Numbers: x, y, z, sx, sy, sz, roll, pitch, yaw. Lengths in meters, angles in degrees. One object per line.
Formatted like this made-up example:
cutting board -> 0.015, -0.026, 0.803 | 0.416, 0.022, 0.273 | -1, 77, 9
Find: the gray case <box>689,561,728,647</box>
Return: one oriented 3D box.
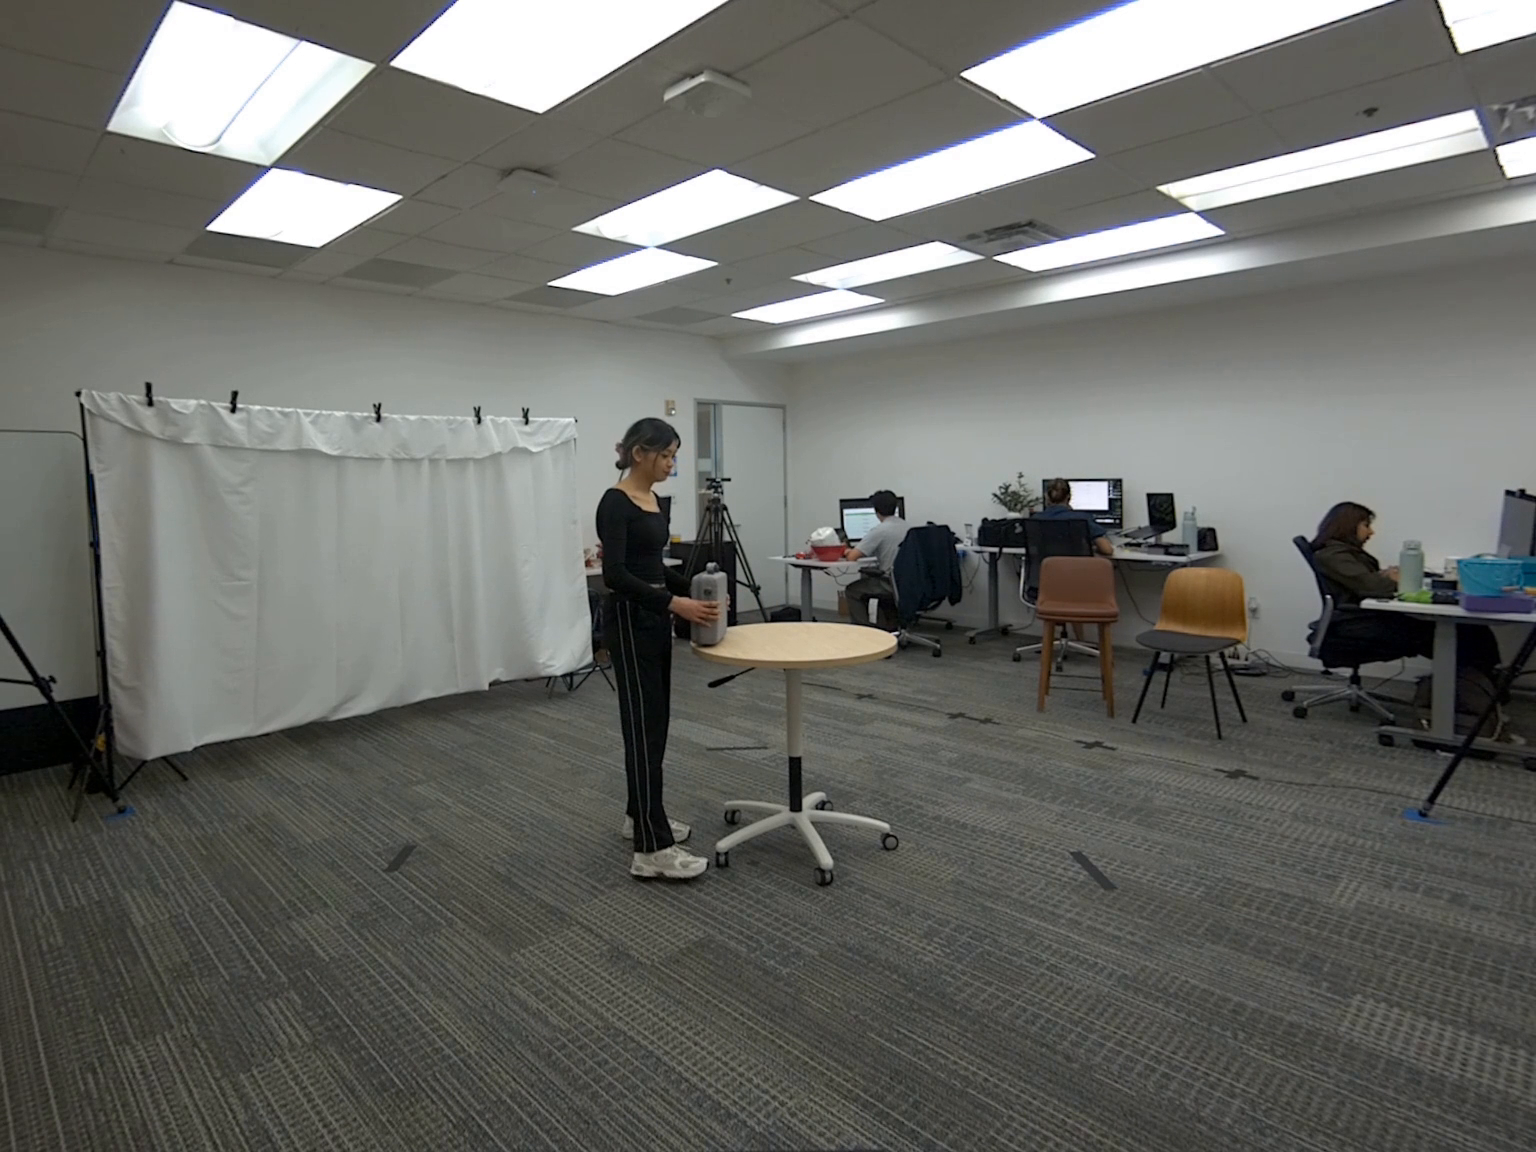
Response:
gray case -> -0.216, 0.112, 3.172 | 0.105, 0.260, 0.255 | 2, 4, 7
